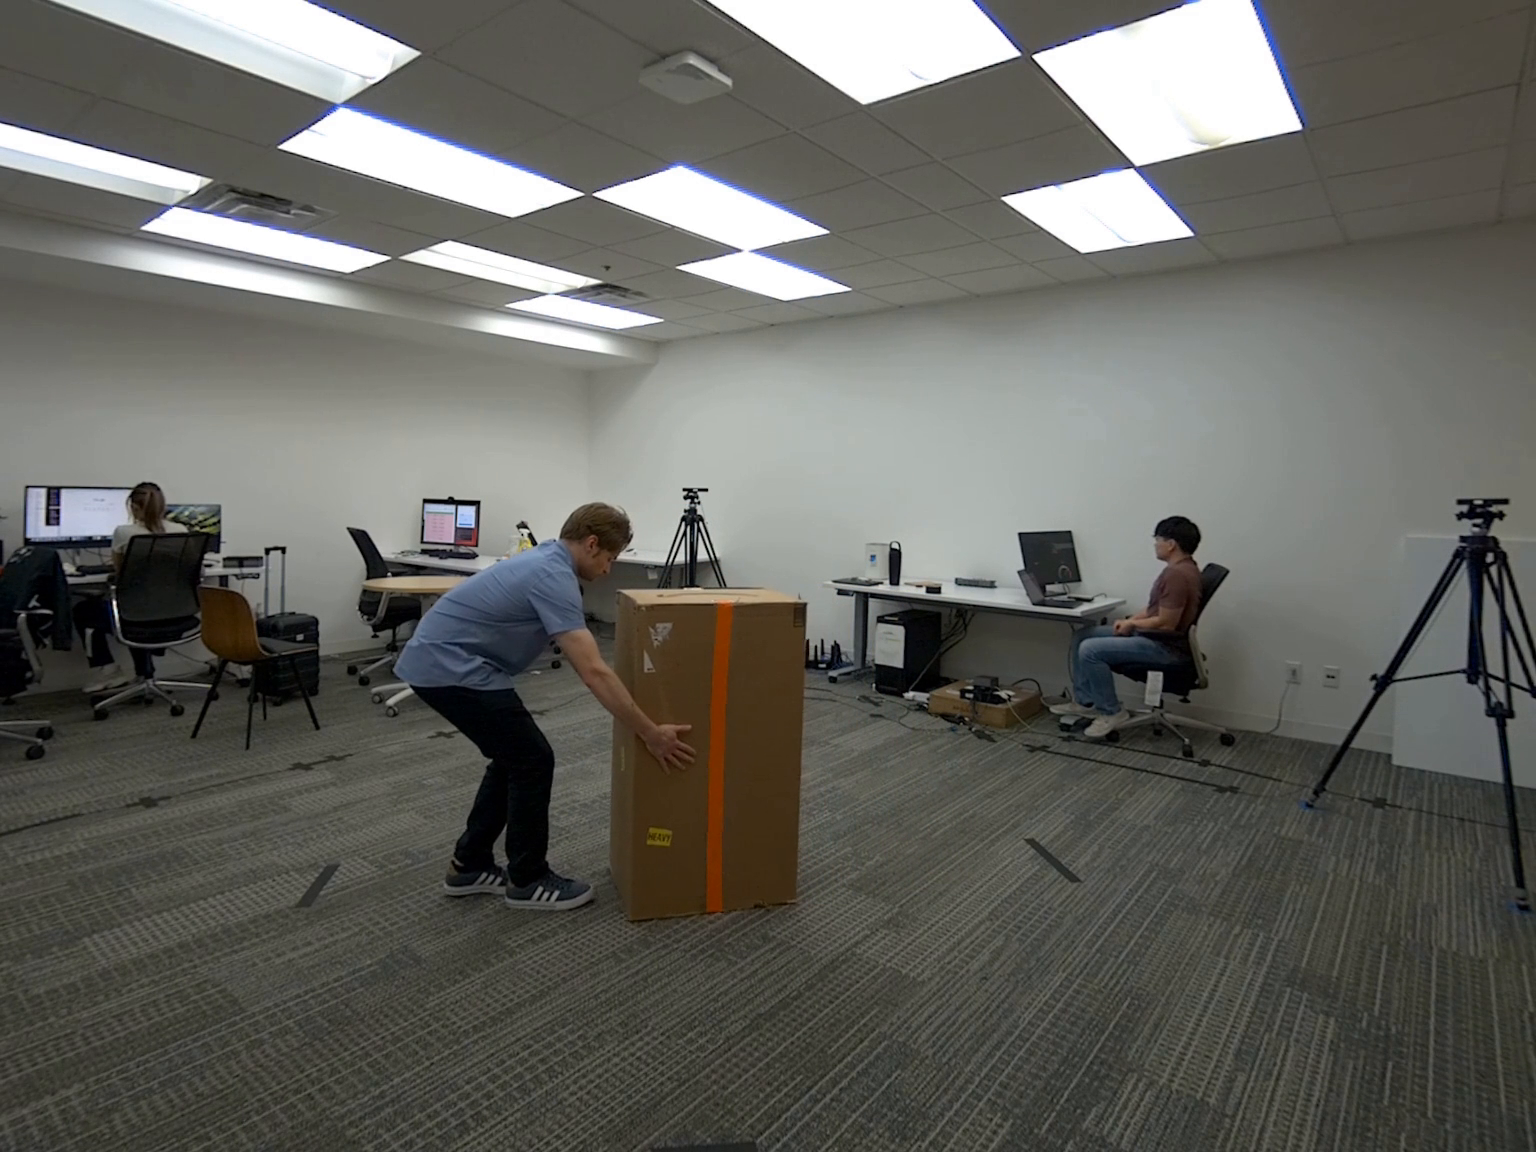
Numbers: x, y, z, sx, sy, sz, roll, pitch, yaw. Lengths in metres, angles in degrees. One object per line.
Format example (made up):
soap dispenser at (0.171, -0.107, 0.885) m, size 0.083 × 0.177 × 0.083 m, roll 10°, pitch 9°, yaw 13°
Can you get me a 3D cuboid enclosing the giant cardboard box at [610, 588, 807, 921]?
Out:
giant cardboard box at (-0.233, 0.576, 2.964) m, size 0.567 × 1.023 × 0.435 m, roll 0°, pitch 3°, yaw -17°
